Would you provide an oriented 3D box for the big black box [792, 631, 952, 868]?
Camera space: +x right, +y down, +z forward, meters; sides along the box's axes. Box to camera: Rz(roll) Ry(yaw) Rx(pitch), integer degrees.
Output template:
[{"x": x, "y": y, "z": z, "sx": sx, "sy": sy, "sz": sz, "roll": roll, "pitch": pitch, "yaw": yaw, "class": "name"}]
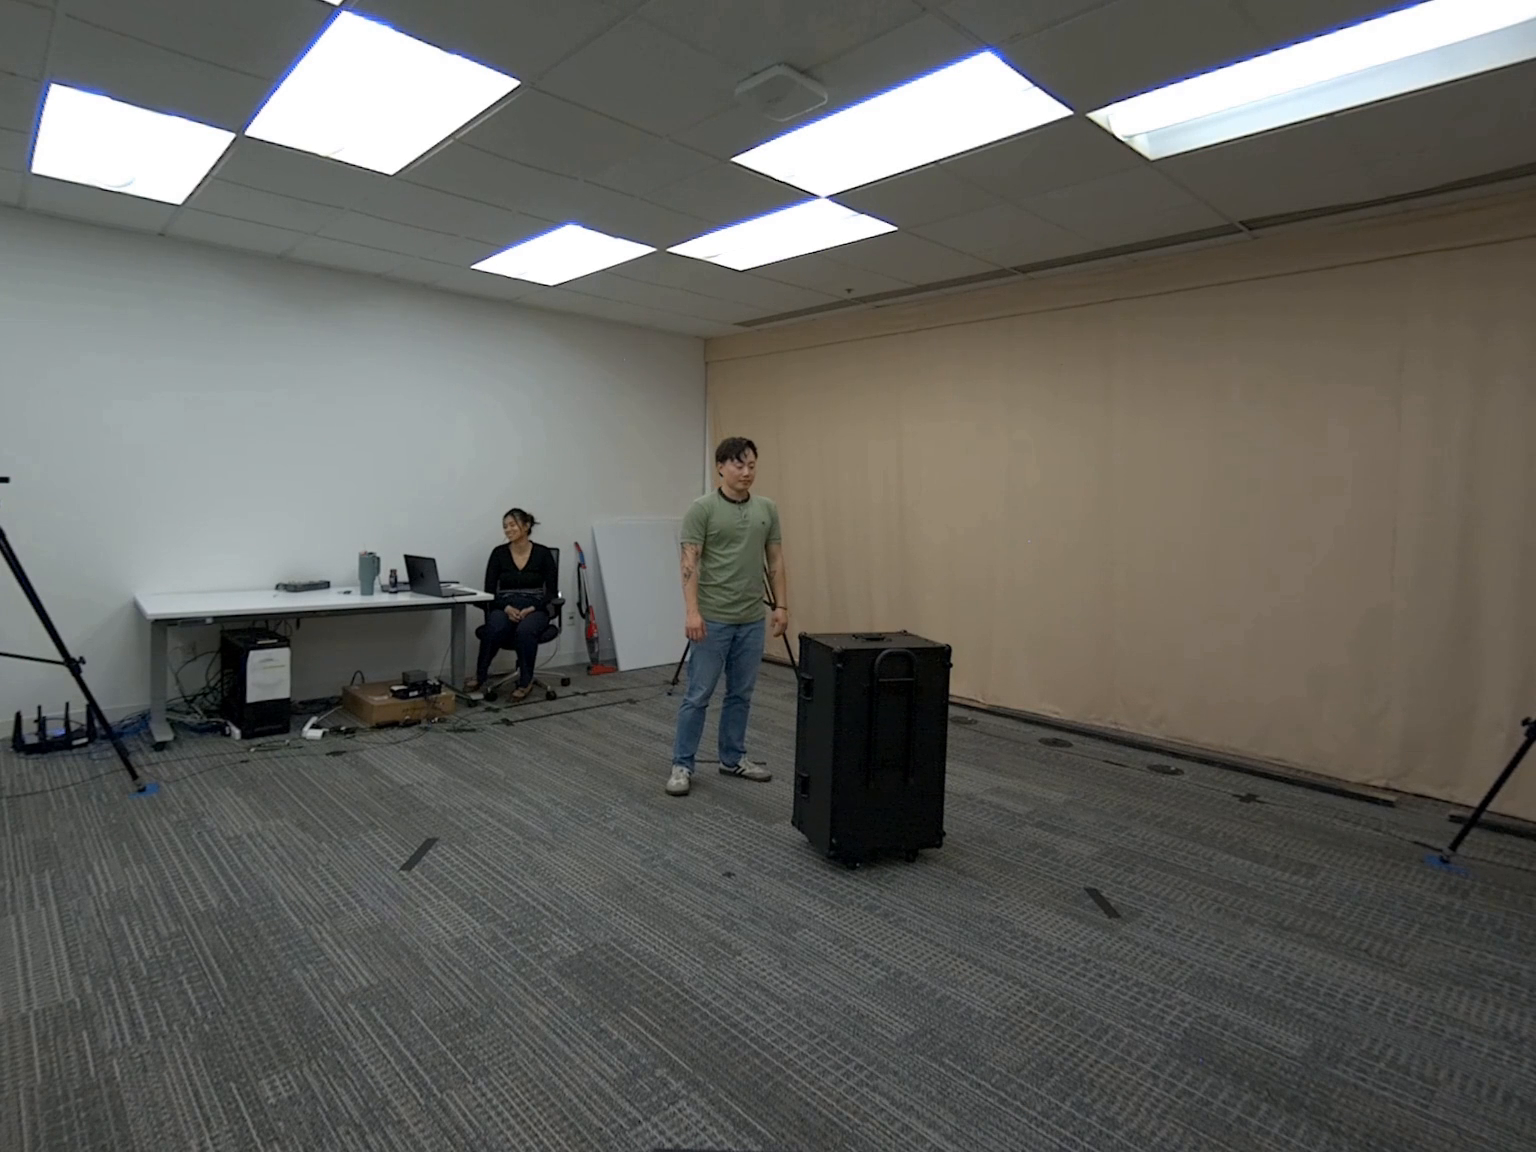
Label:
[{"x": 0.402, "y": 0.672, "z": 3.299, "sx": 0.513, "sy": 0.859, "sz": 0.403, "roll": 1, "pitch": 4, "yaw": -20, "class": "big black box"}]
